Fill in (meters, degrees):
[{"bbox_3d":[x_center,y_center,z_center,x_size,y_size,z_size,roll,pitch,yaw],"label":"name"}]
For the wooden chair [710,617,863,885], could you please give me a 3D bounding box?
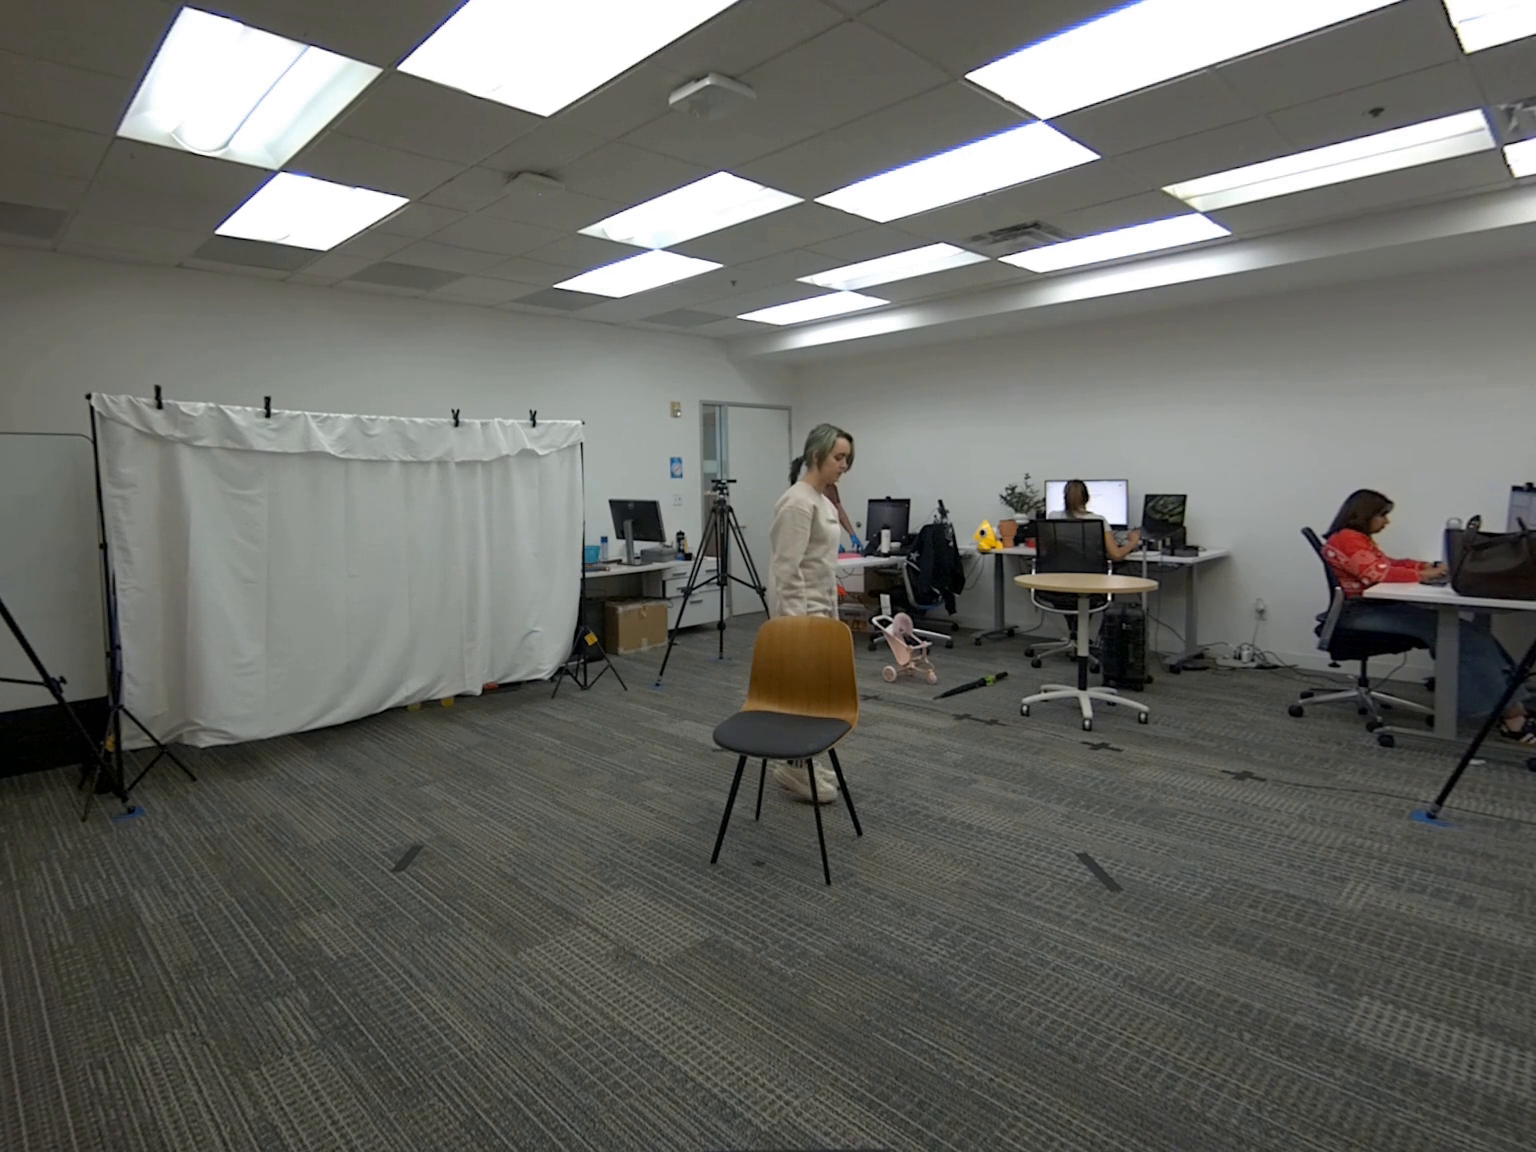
[{"bbox_3d":[0.073,0.609,3.183,0.488,0.877,0.512,1,0,23],"label":"wooden chair"}]
